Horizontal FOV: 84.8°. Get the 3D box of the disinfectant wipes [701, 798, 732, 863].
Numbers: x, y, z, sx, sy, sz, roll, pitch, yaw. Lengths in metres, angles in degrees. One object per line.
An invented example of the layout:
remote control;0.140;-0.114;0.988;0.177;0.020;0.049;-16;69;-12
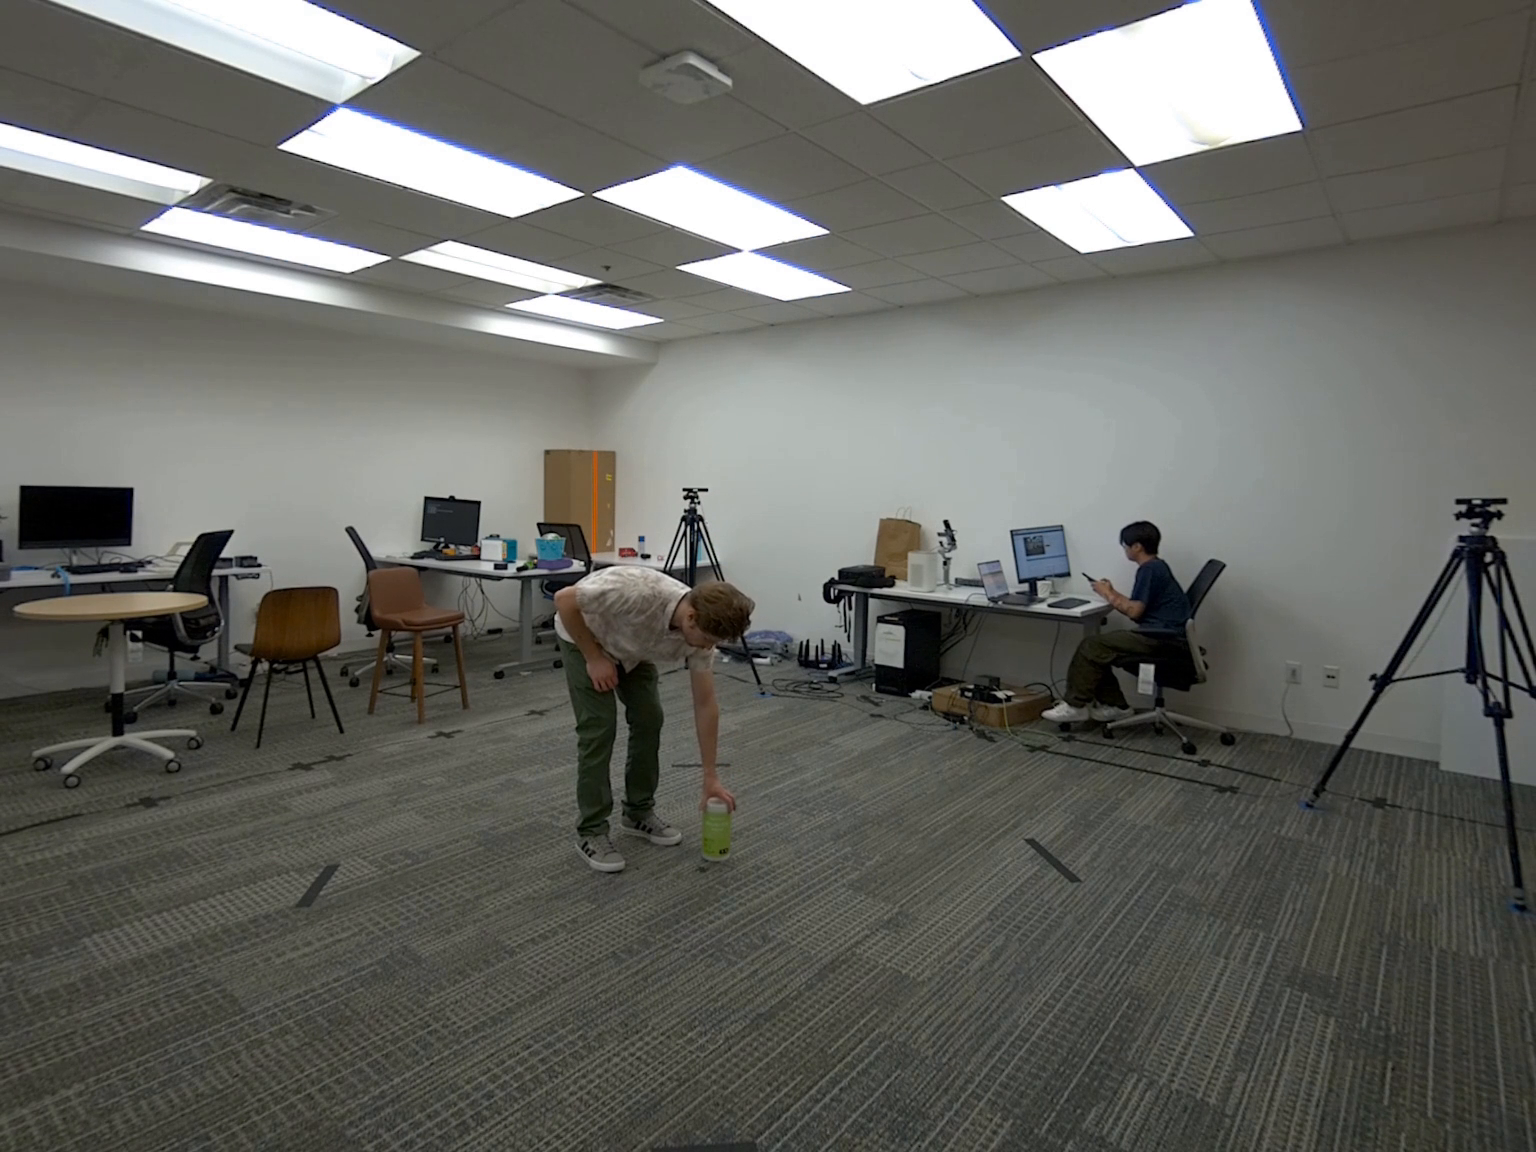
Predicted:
disinfectant wipes;-0.209;0.959;3.211;0.117;0.217;0.118;3;3;-2
